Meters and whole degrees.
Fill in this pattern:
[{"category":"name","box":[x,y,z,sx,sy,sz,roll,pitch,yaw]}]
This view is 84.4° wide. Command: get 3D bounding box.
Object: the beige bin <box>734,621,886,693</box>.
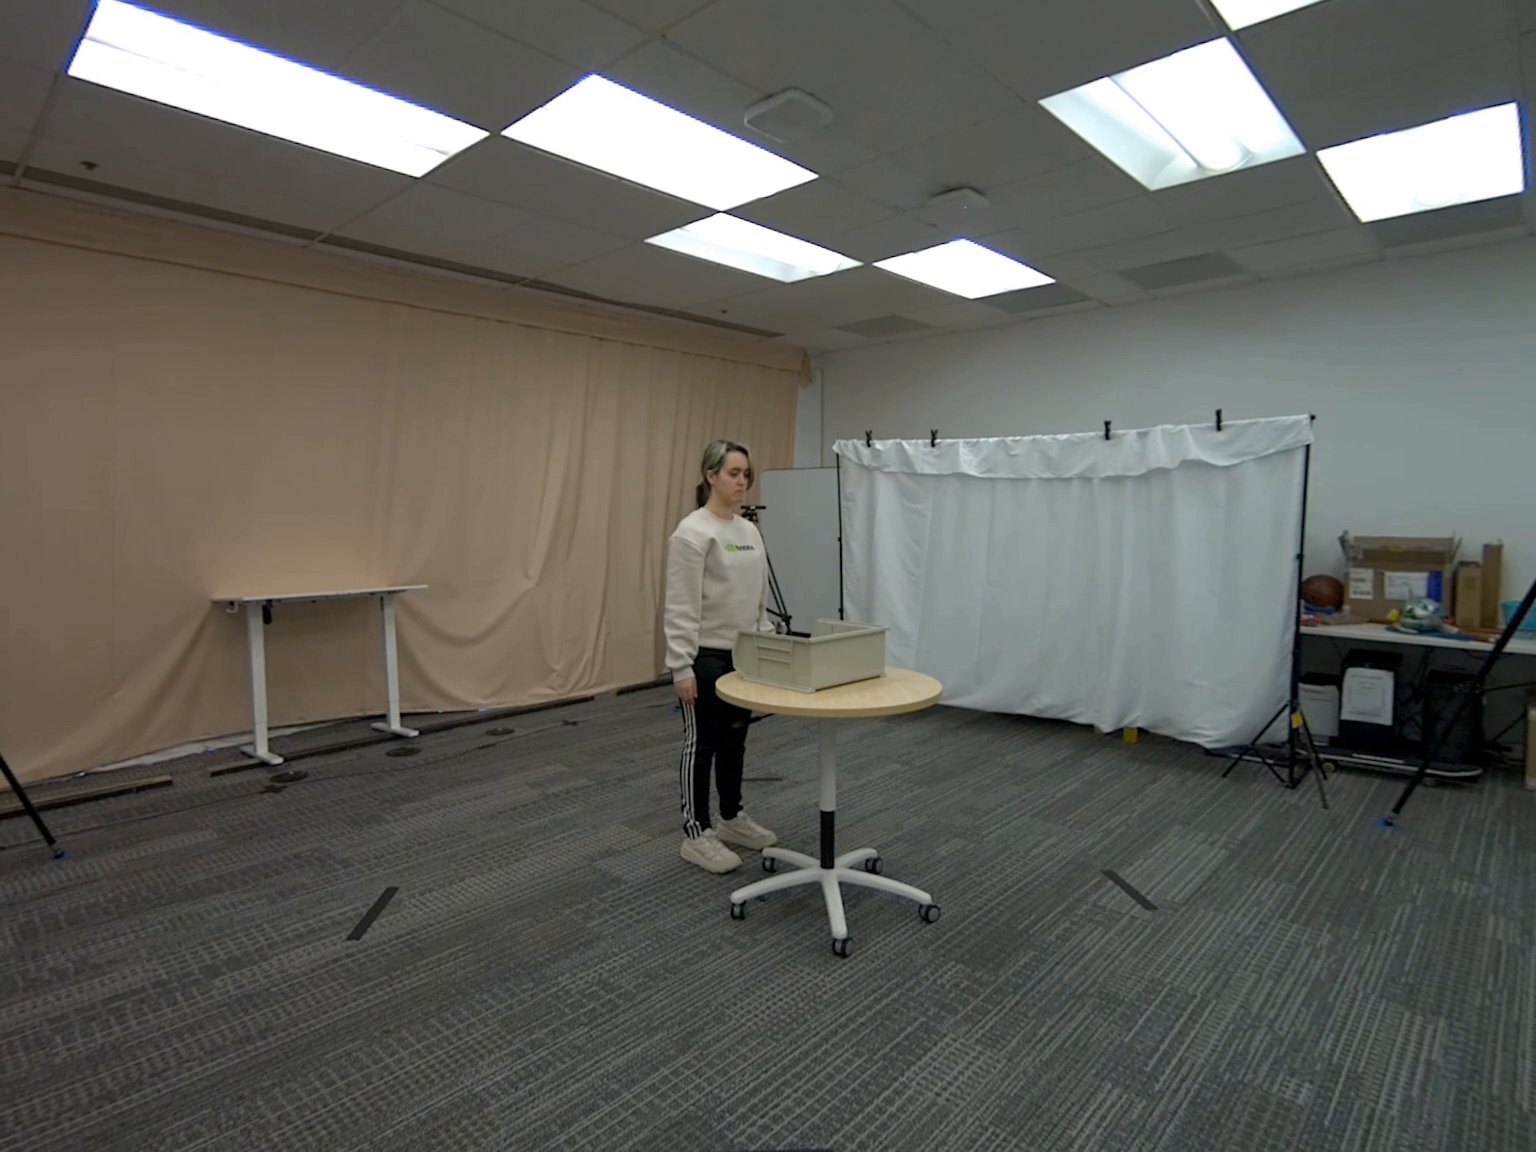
[{"category":"beige bin","box":[0.155,0.273,2.973,0.409,0.188,0.390,-4,6,-43]}]
